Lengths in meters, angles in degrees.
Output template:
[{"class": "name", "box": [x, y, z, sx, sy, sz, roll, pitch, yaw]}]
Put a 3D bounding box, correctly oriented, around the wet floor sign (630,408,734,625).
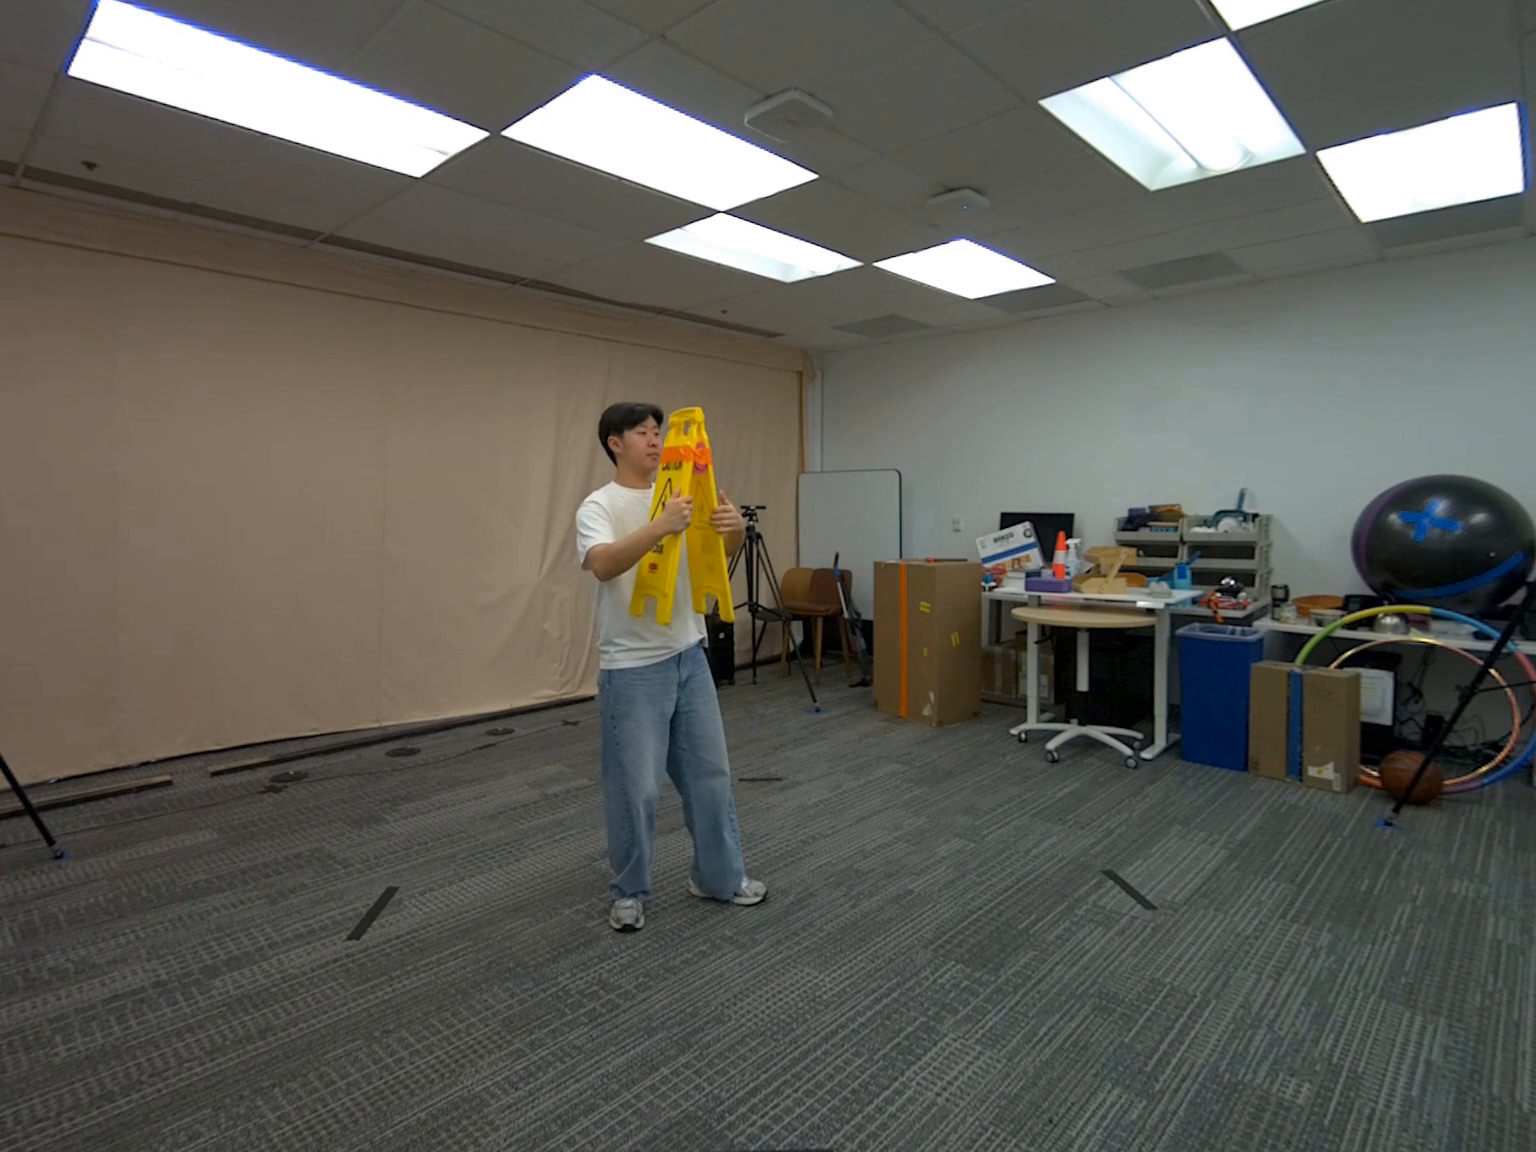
[{"class": "wet floor sign", "box": [-0.260, -0.192, 2.618, 0.282, 0.645, 0.290, 0, 1, -29]}]
